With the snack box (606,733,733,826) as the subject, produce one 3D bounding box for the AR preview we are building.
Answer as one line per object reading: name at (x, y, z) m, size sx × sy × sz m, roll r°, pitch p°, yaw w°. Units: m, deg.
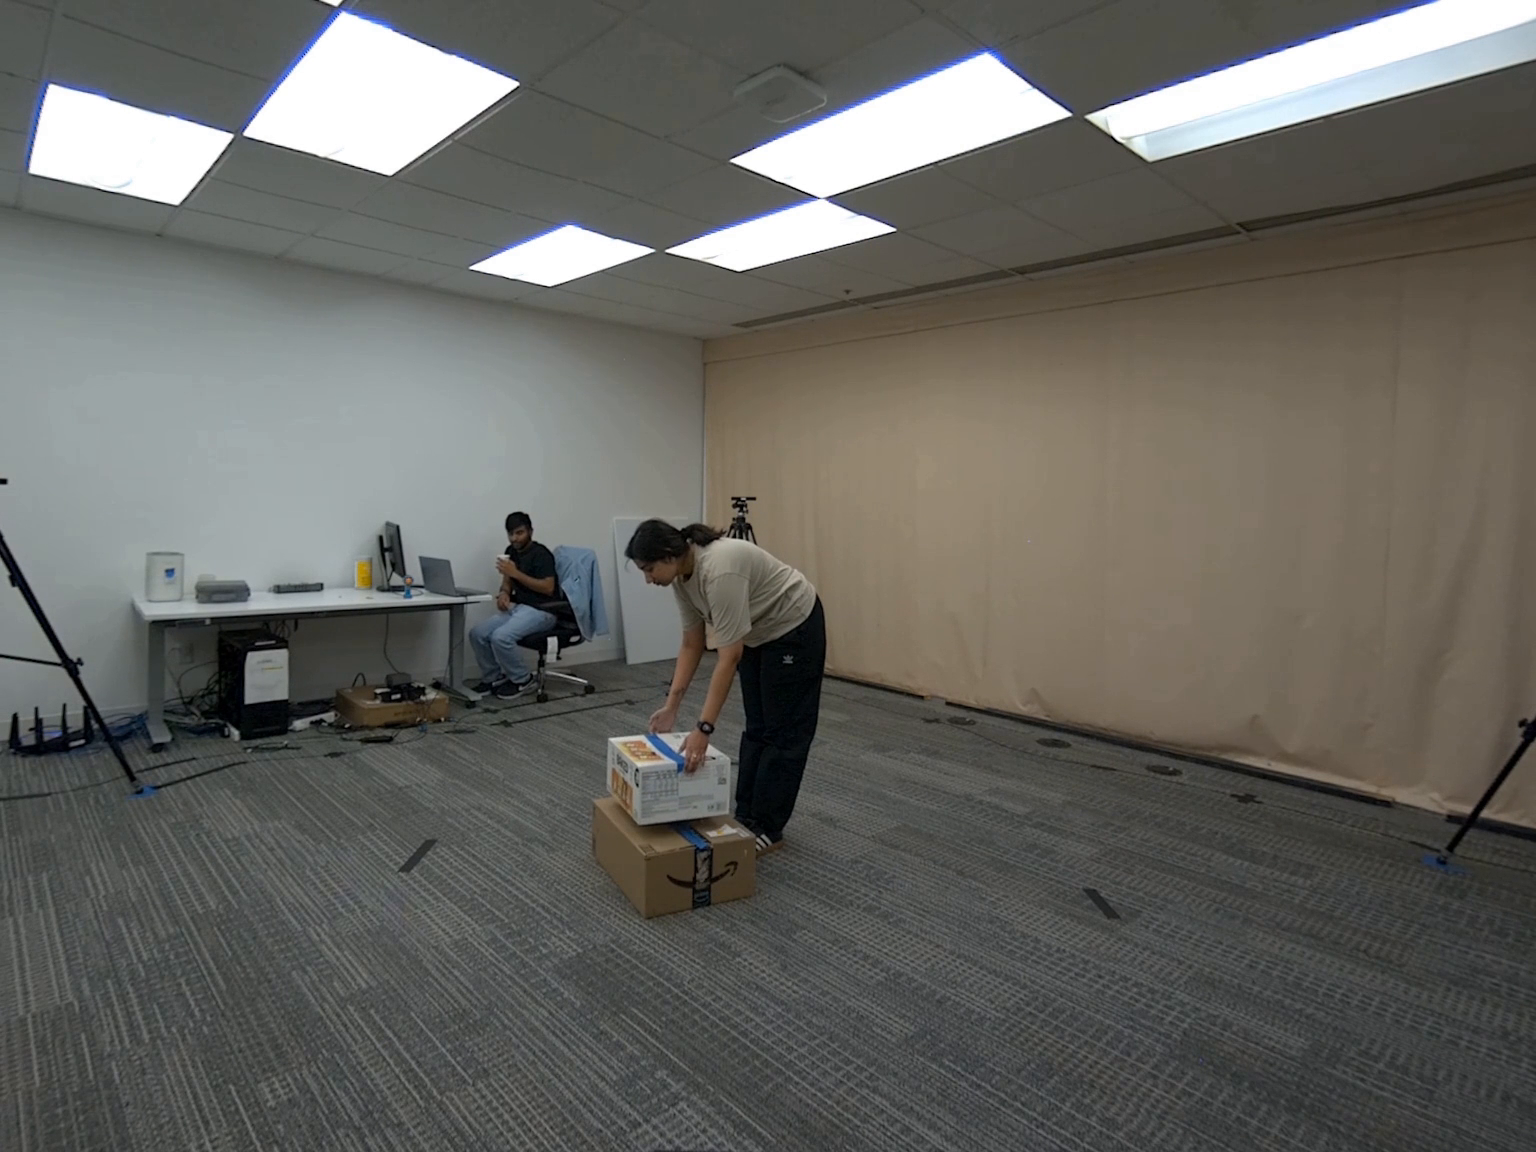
snack box at (-0.379, 0.737, 3.103) m, size 0.334 × 0.205 × 0.413 m, roll 0°, pitch 3°, yaw -25°
